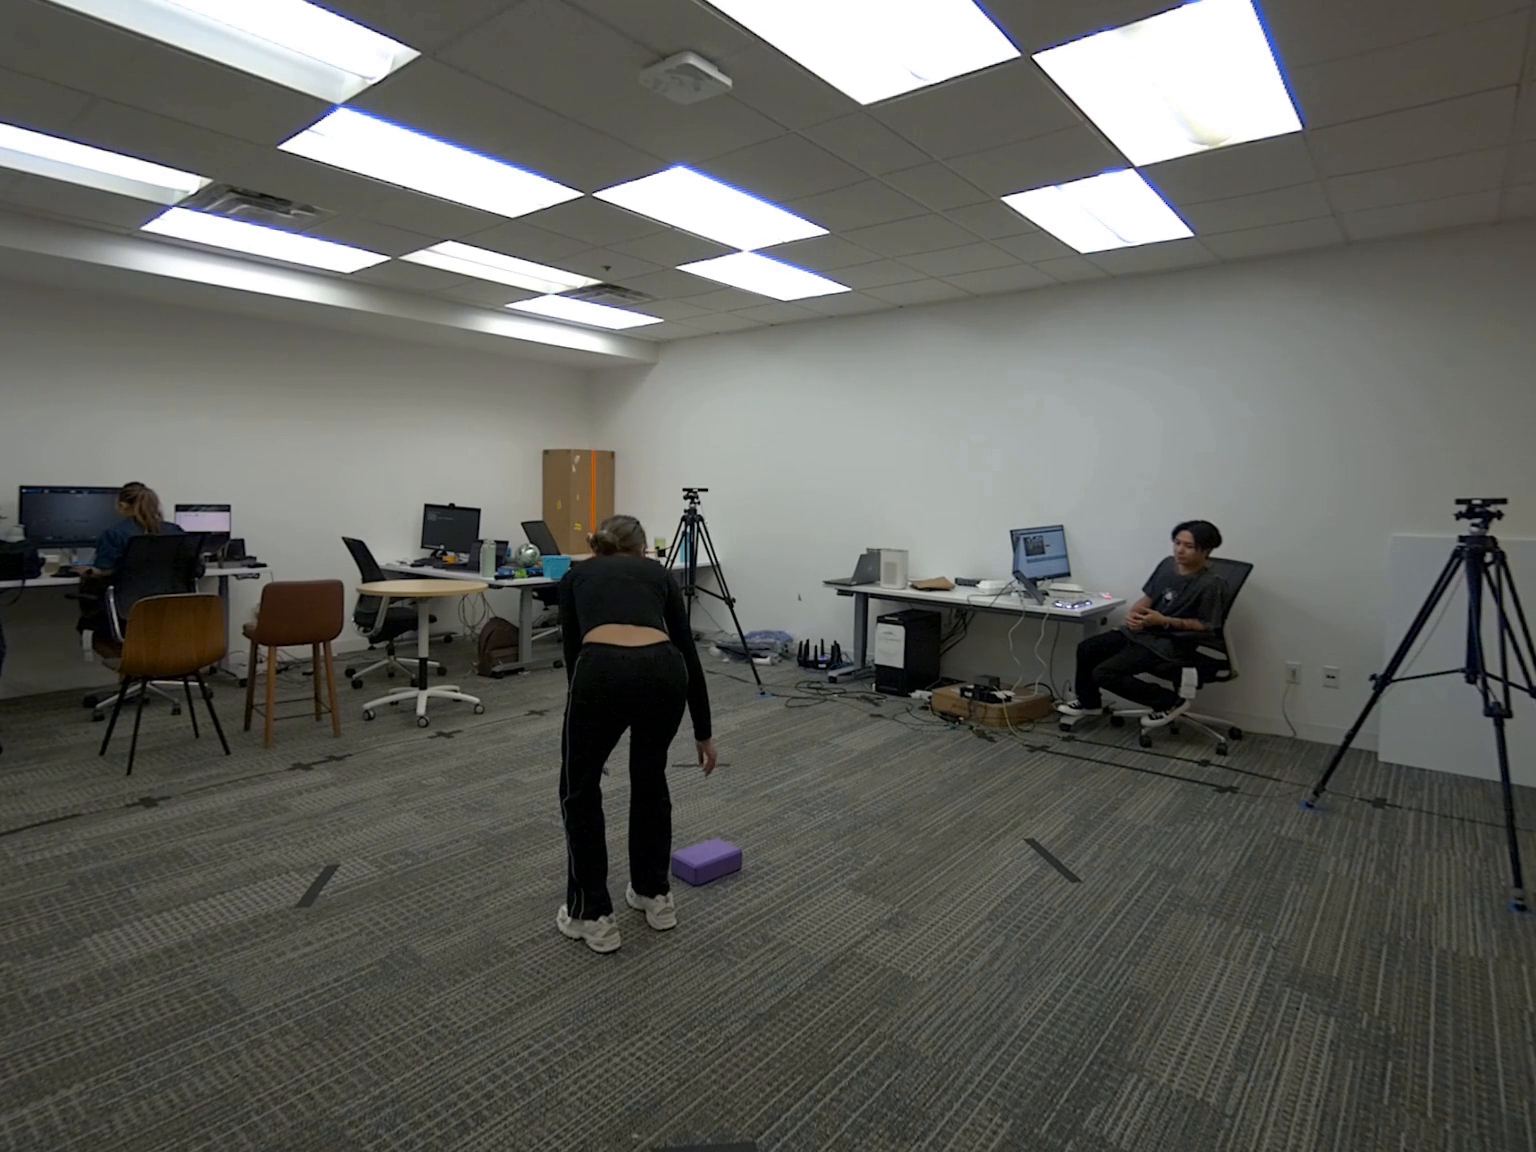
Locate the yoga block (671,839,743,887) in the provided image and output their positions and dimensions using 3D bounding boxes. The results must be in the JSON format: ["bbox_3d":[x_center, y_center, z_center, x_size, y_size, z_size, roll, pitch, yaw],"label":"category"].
[{"bbox_3d":[-0.234,1.030,3.088,0.222,0.076,0.154,-4,6,-43],"label":"yoga block"}]
